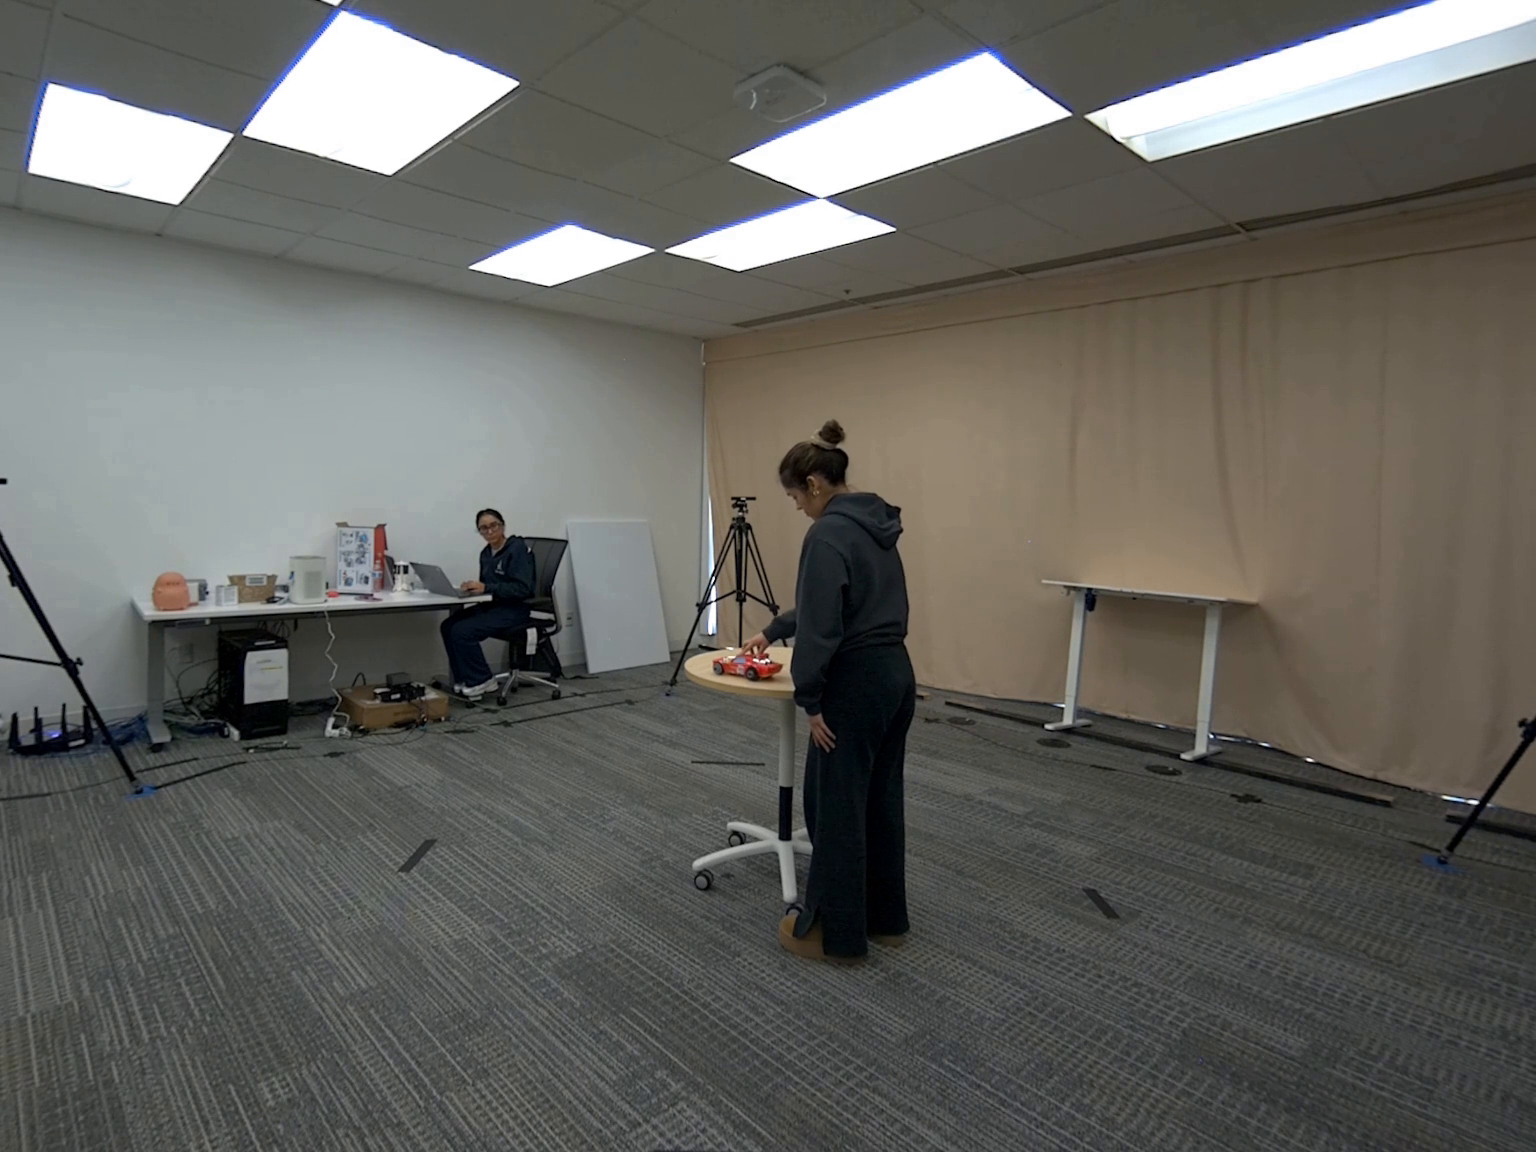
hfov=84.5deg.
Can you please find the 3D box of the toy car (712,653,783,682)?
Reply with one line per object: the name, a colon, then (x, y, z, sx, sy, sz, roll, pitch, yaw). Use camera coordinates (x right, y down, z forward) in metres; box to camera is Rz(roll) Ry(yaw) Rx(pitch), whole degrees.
toy car: (-0.071, 0.316, 2.893, 0.259, 0.083, 0.127, -8, -2, 36)
